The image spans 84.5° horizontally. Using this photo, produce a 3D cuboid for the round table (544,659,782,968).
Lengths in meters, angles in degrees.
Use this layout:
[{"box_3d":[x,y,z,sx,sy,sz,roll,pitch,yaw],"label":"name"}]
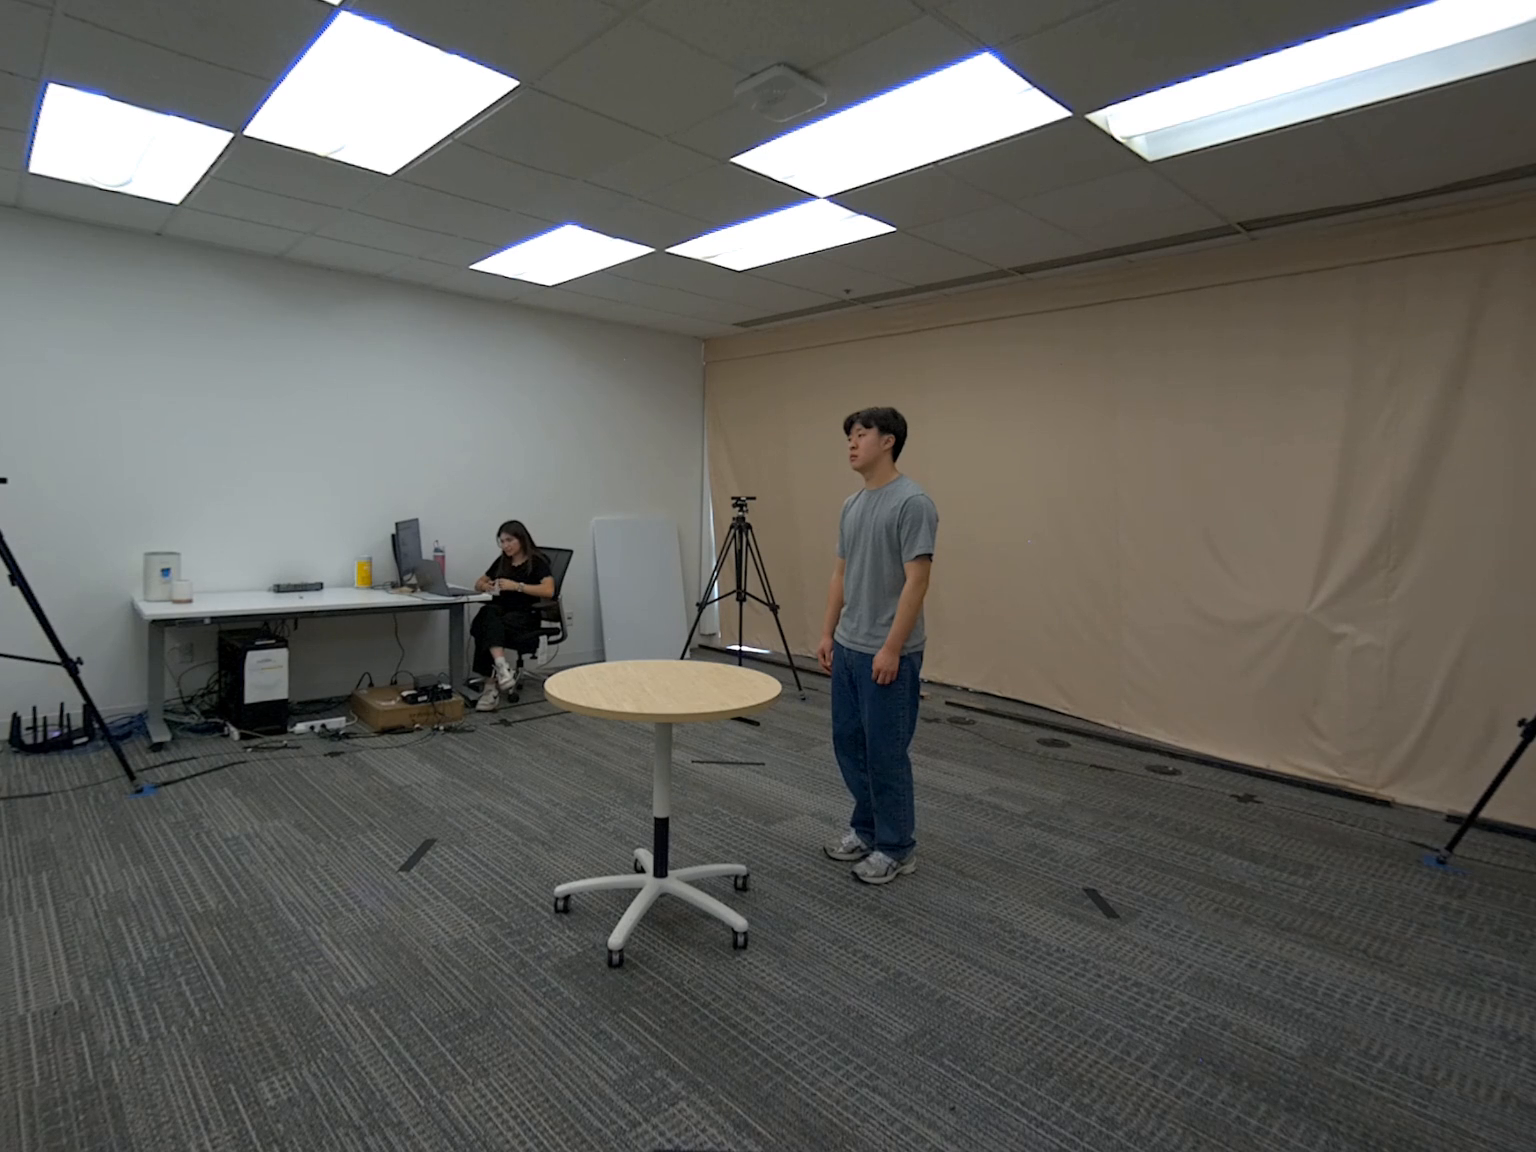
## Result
[{"box_3d":[-0.351,0.744,2.762,0.763,0.792,0.767,1,4,-1],"label":"round table"}]
